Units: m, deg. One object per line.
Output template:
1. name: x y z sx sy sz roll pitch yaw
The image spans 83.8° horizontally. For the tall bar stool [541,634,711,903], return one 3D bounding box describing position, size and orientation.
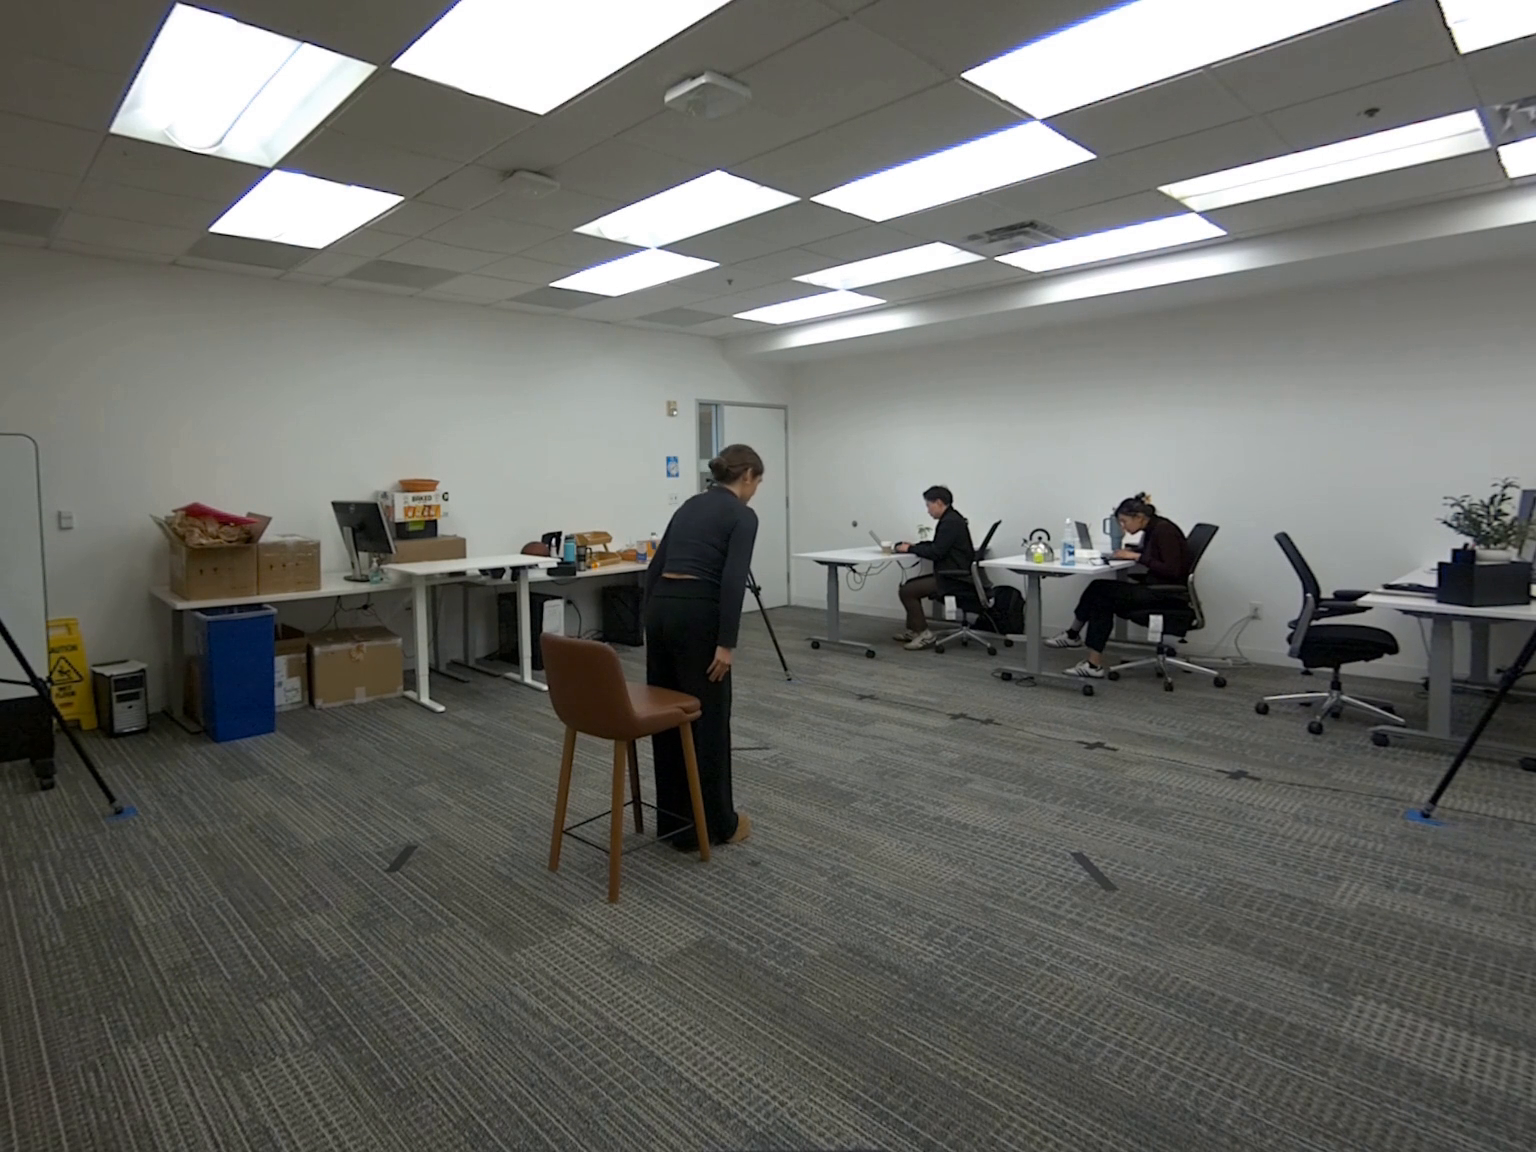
1. tall bar stool: -0.523 0.619 3.082 0.470 0.885 0.456 3 7 43
